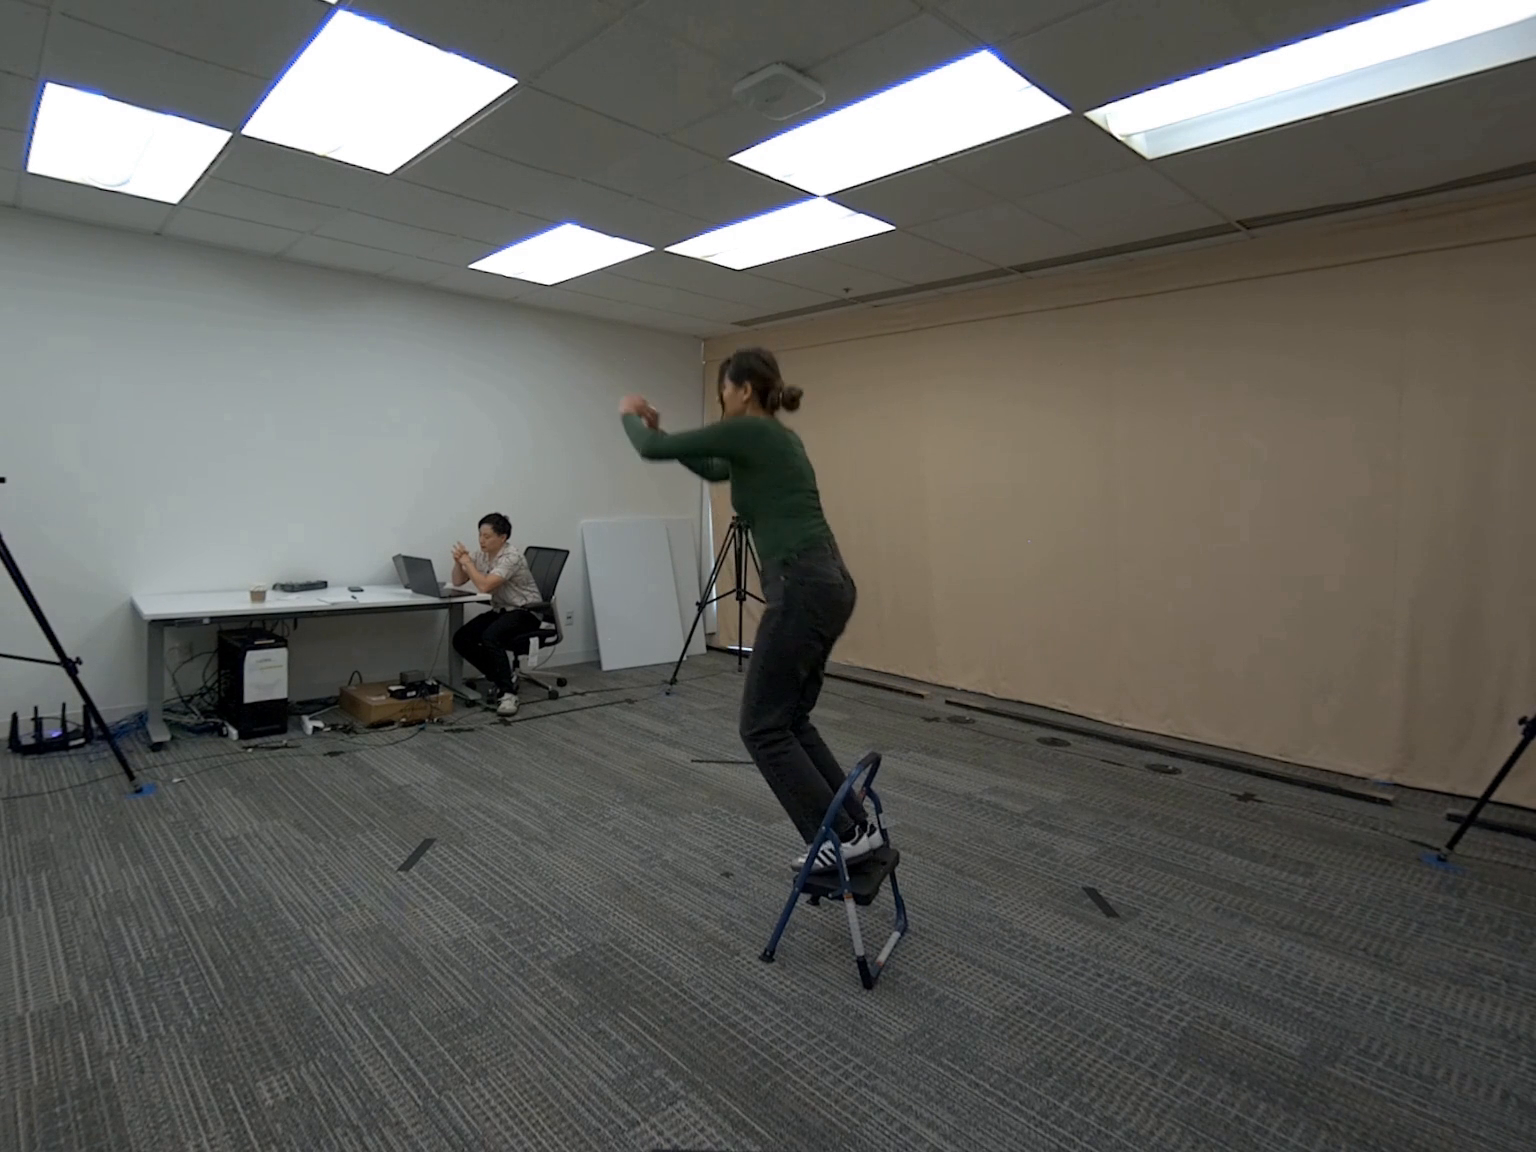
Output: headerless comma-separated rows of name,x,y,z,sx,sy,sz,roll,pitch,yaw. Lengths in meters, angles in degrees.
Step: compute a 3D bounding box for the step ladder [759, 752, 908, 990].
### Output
step ladder,0.225,0.854,2.623,0.356,0.604,0.423,3,4,24
